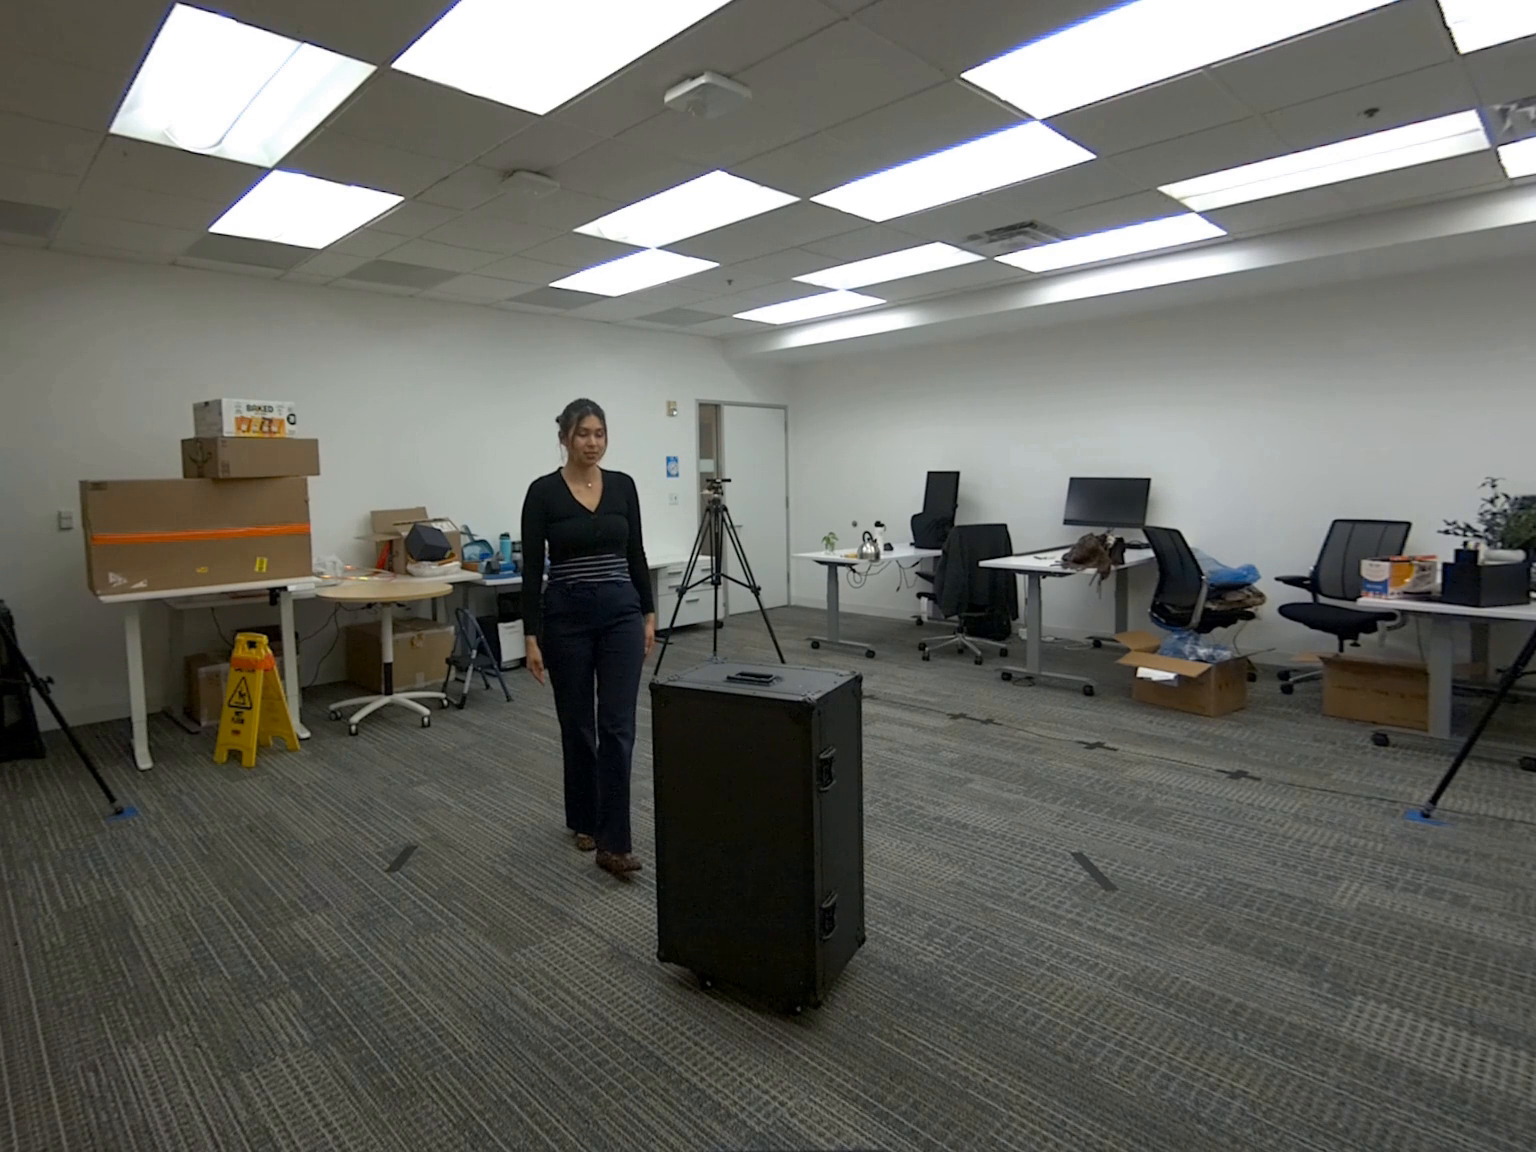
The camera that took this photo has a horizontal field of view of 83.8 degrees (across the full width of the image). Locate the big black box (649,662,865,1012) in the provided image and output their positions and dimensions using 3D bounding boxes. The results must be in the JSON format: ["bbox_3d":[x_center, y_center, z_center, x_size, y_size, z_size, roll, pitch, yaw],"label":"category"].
[{"bbox_3d":[-0.018,0.700,2.396,0.534,0.859,0.388,1,4,28],"label":"big black box"}]
